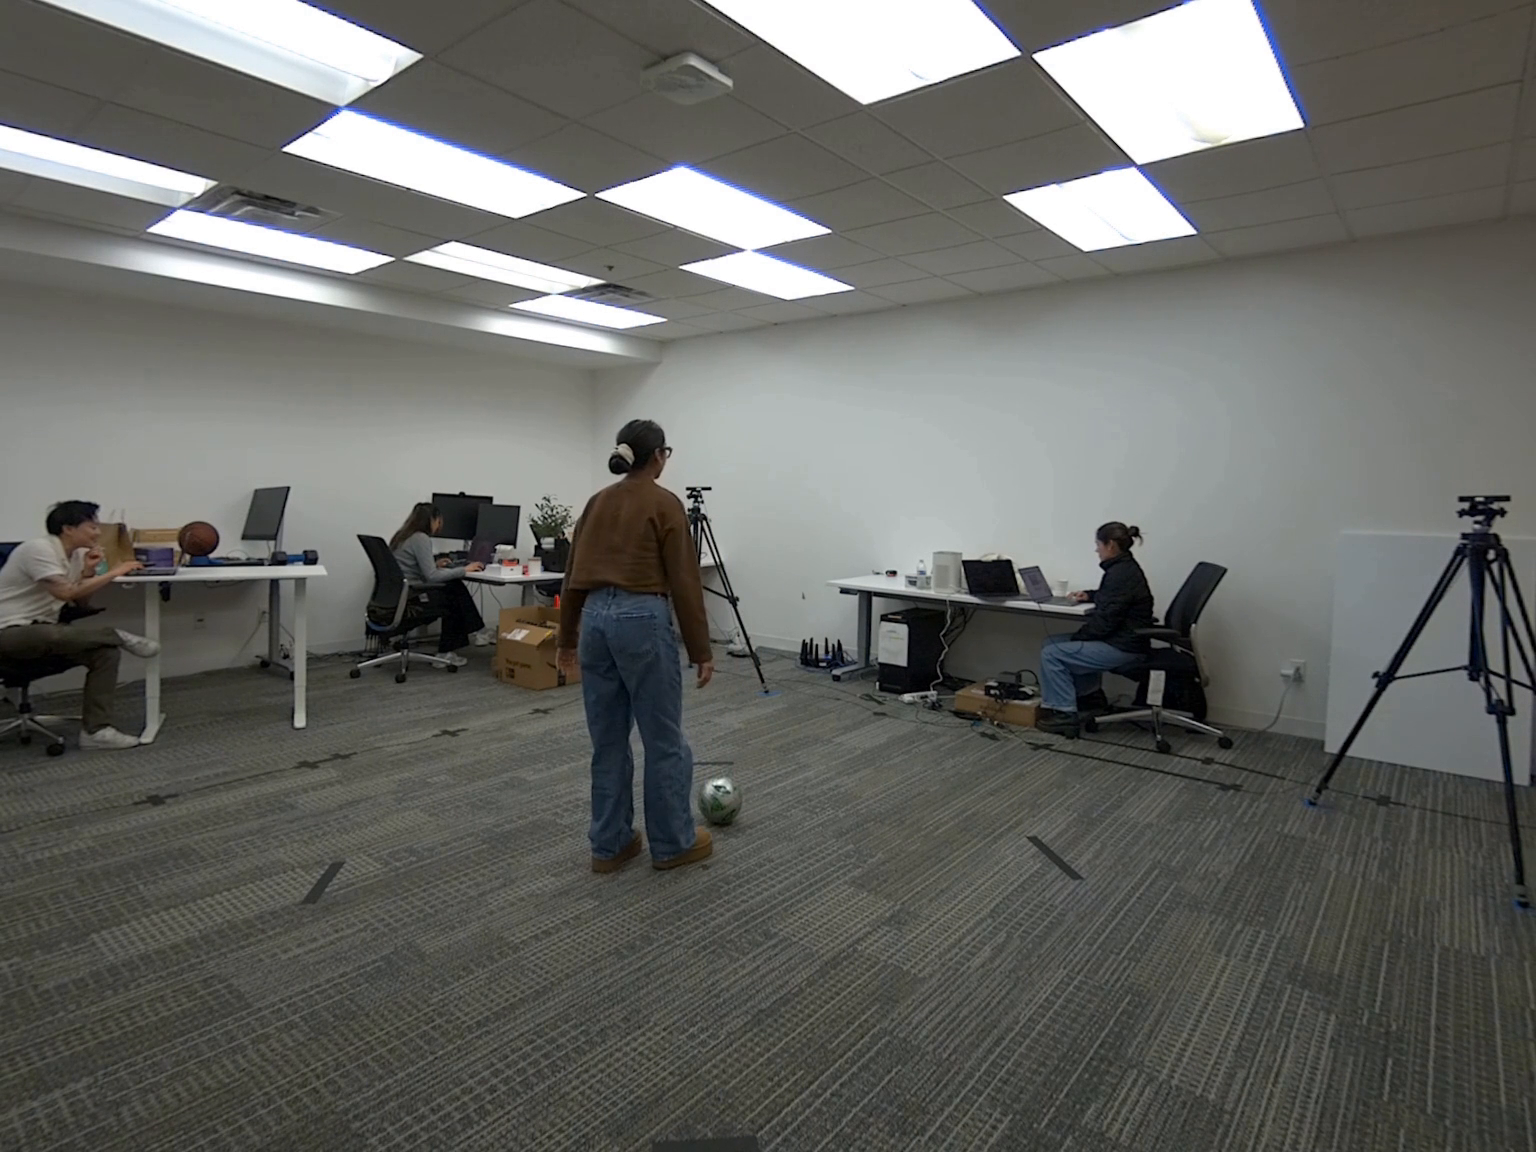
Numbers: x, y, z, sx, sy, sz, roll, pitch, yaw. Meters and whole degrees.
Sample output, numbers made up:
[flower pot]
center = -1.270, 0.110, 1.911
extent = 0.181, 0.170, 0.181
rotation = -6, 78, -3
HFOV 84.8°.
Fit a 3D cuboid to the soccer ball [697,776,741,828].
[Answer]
[soccer ball]
center = -0.211, 0.931, 3.542
extent = 0.187, 0.187, 0.188
rotation = 1, 4, -2
